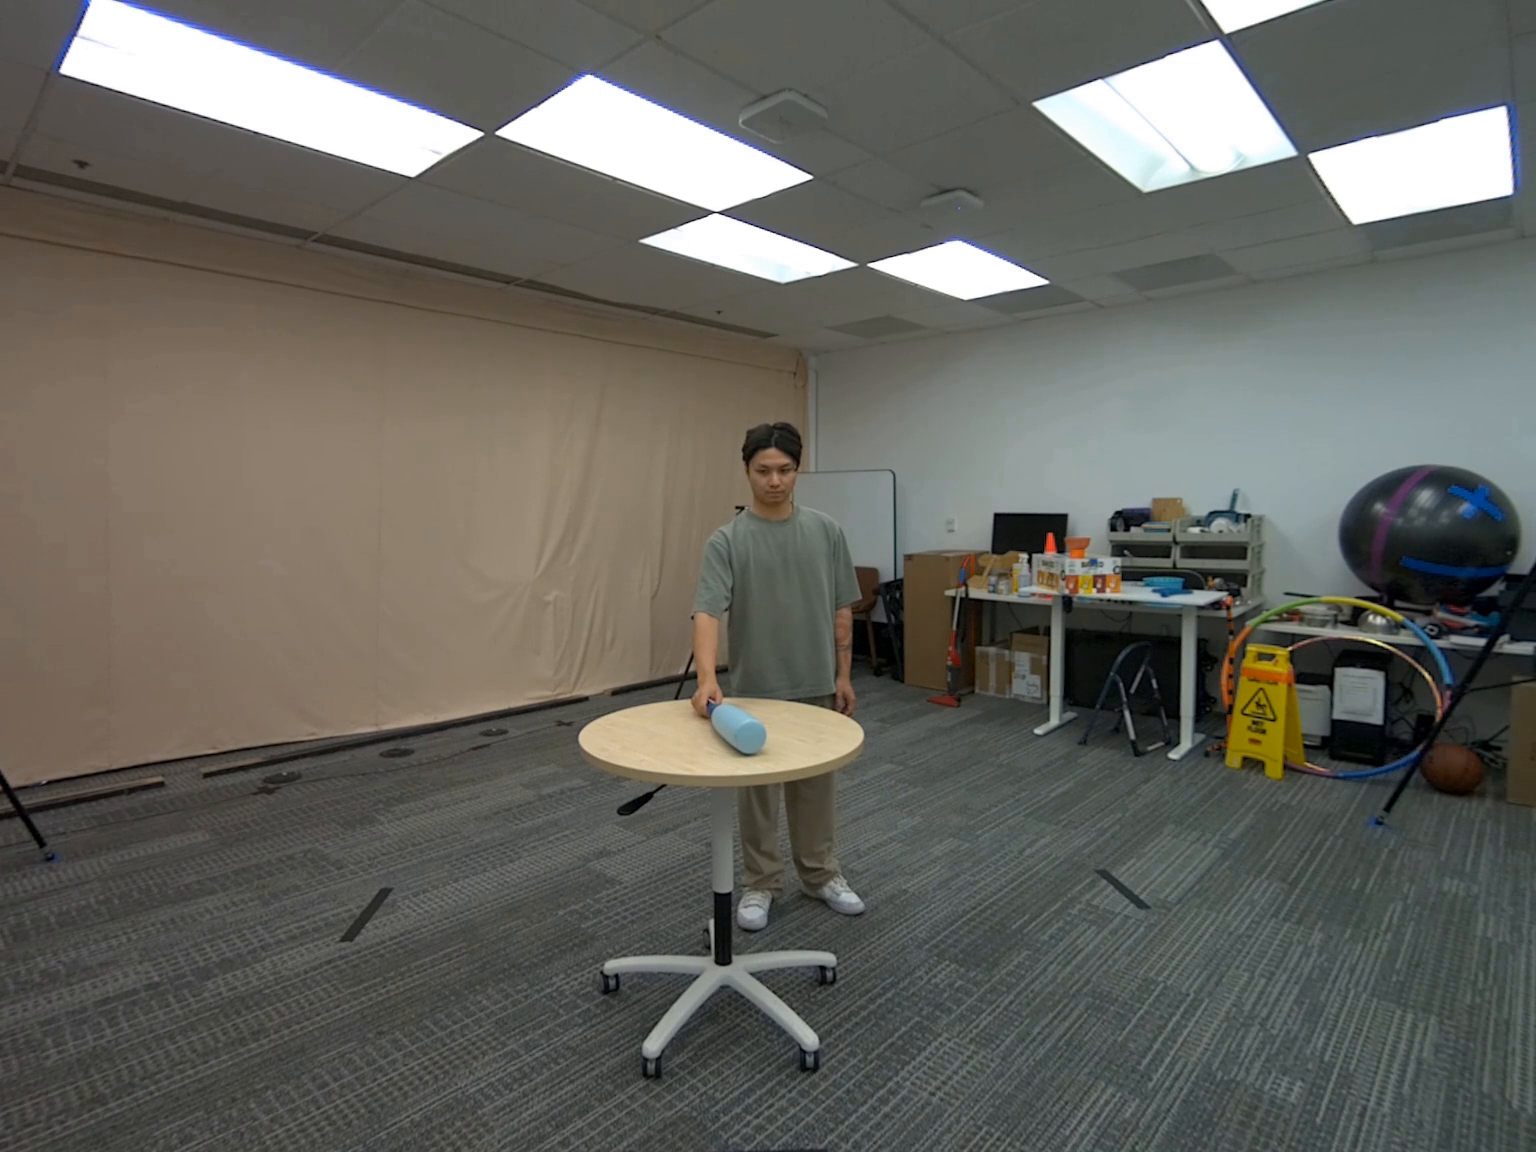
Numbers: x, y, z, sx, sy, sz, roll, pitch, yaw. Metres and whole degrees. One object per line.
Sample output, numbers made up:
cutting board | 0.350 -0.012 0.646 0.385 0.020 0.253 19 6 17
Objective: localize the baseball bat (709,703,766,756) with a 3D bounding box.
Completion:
baseball bat | -0.124 0.381 2.290 0.087 0.089 0.553 -1 2 -19
